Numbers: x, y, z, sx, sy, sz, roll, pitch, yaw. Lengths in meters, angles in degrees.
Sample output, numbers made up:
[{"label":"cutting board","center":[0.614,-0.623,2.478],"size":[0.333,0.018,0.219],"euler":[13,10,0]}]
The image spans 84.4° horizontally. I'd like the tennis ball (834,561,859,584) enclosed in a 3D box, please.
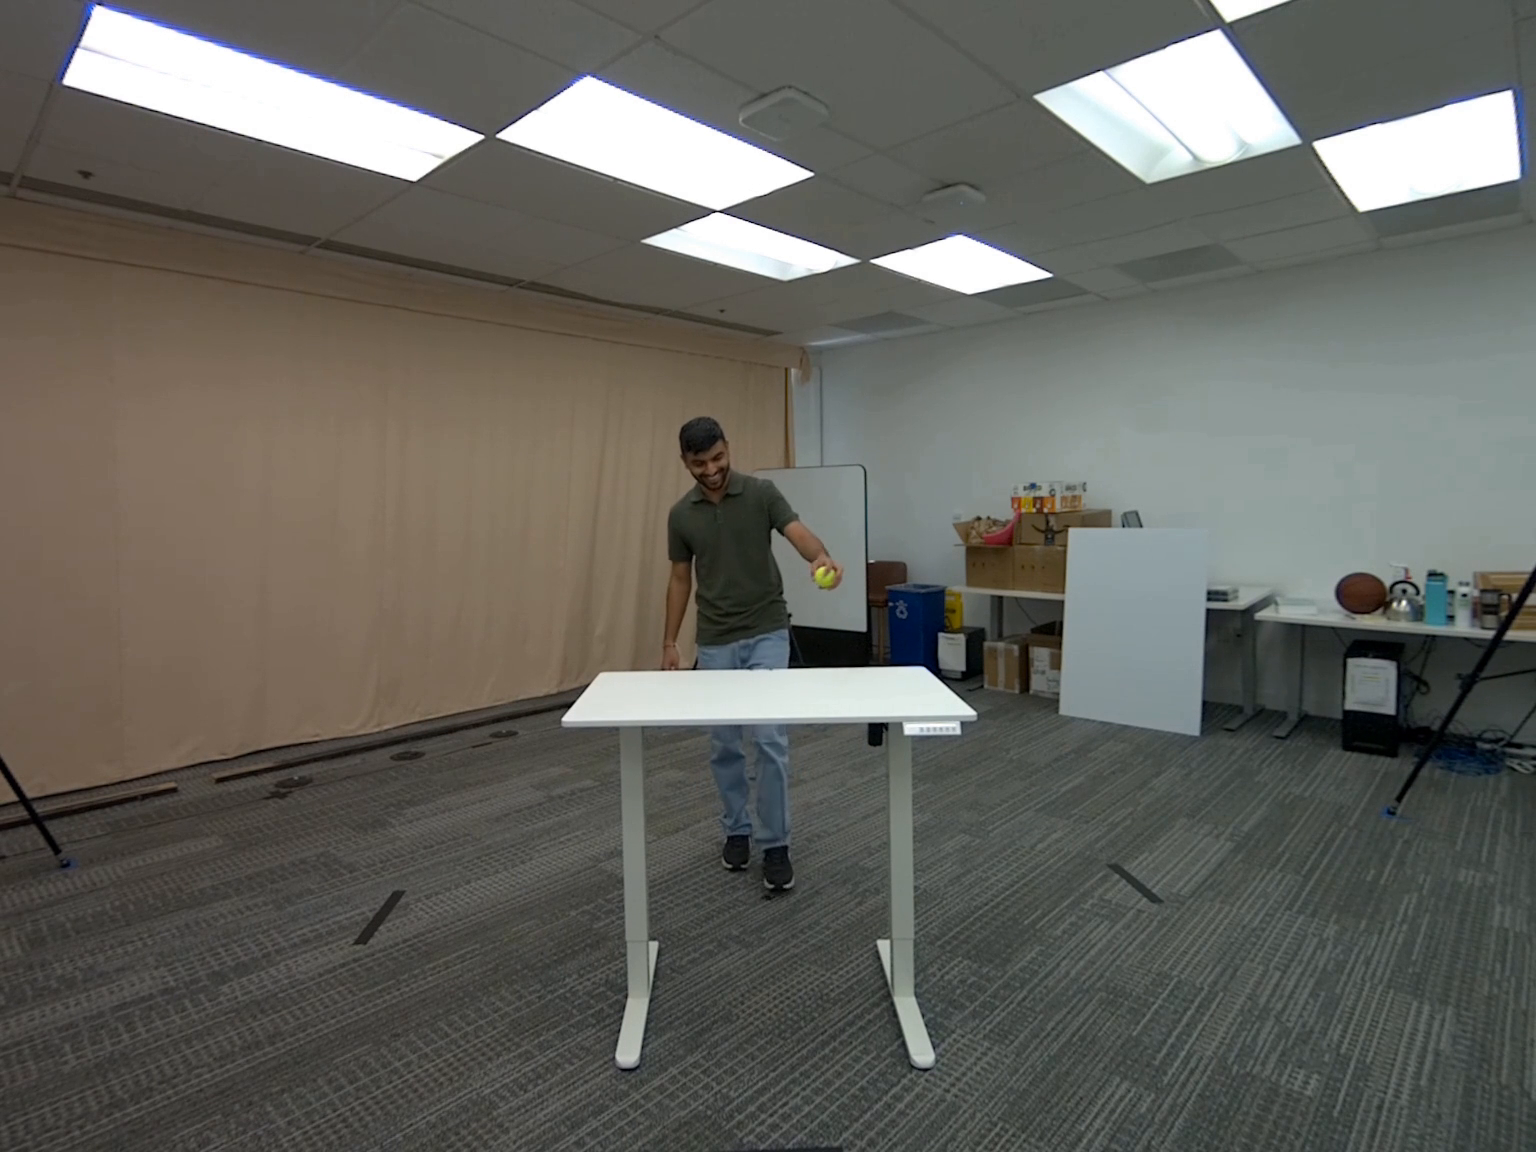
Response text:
[{"label":"tennis ball","center":[0.257,-0.015,2.789],"size":[0.066,0.066,0.067],"euler":[-1,4,-2]}]
